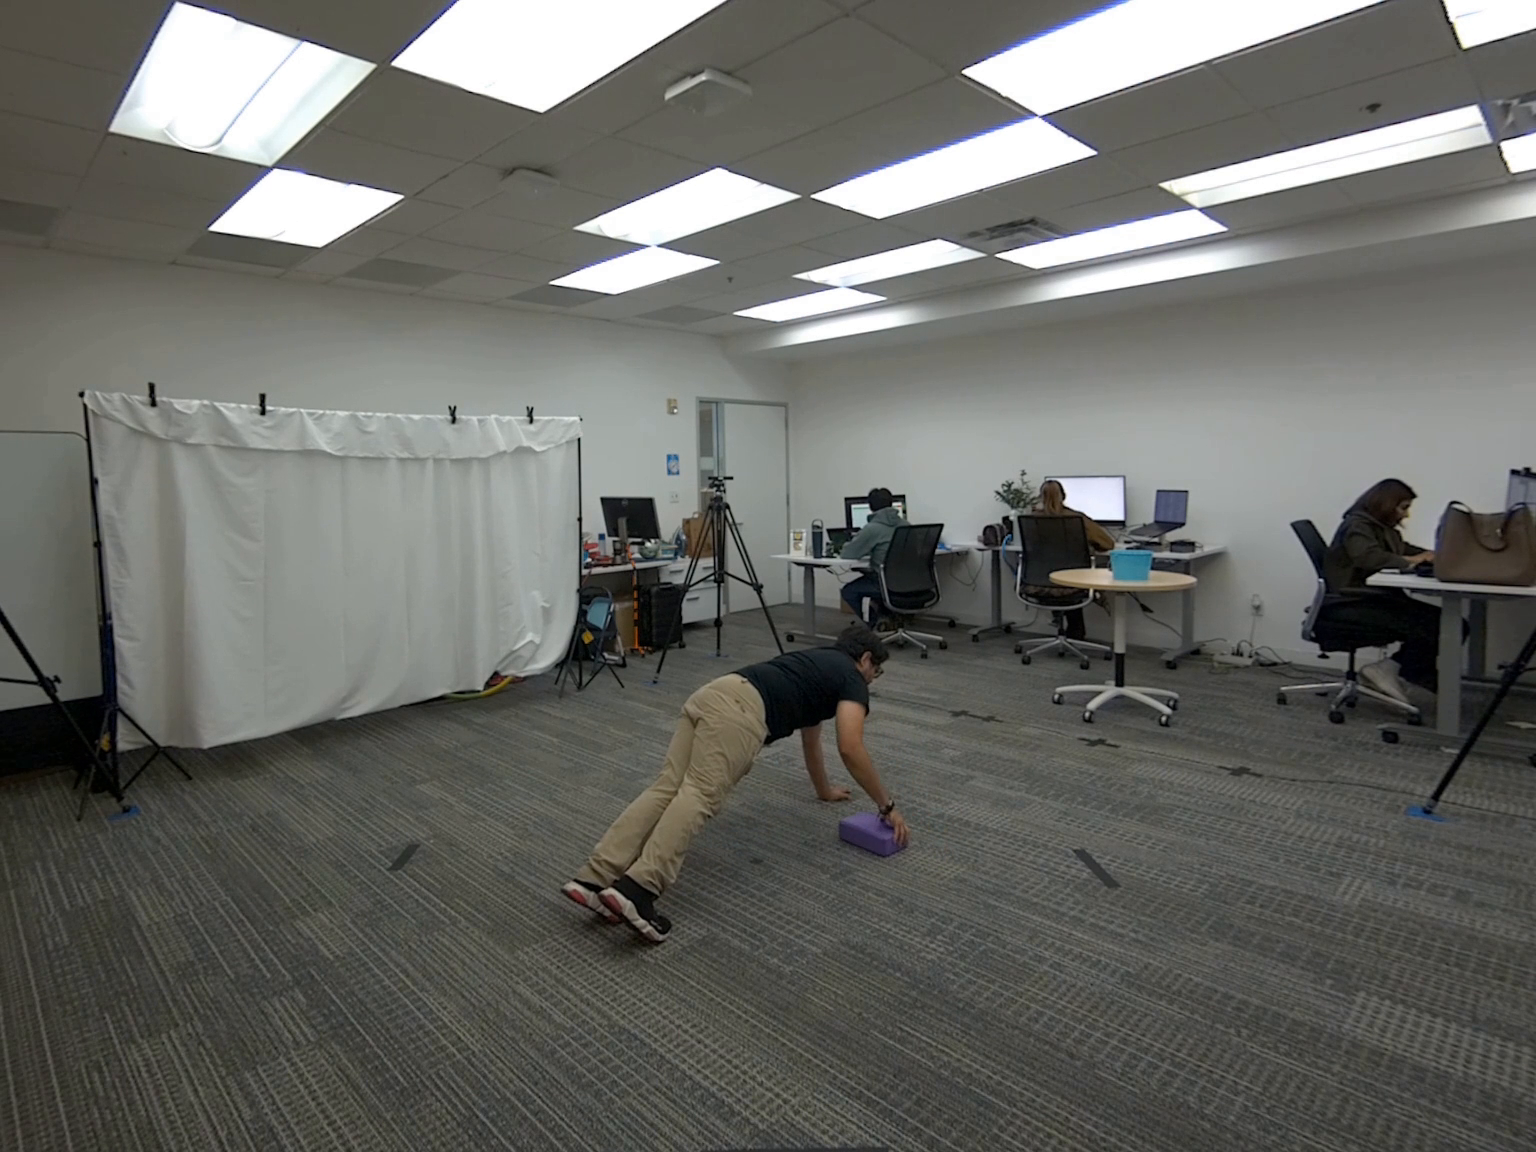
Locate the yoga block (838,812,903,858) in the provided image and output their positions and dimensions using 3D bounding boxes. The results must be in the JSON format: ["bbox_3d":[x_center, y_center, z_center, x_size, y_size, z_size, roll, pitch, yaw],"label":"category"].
[{"bbox_3d":[0.397,0.971,3.240,0.145,0.076,0.236,-6,8,-41],"label":"yoga block"}]
